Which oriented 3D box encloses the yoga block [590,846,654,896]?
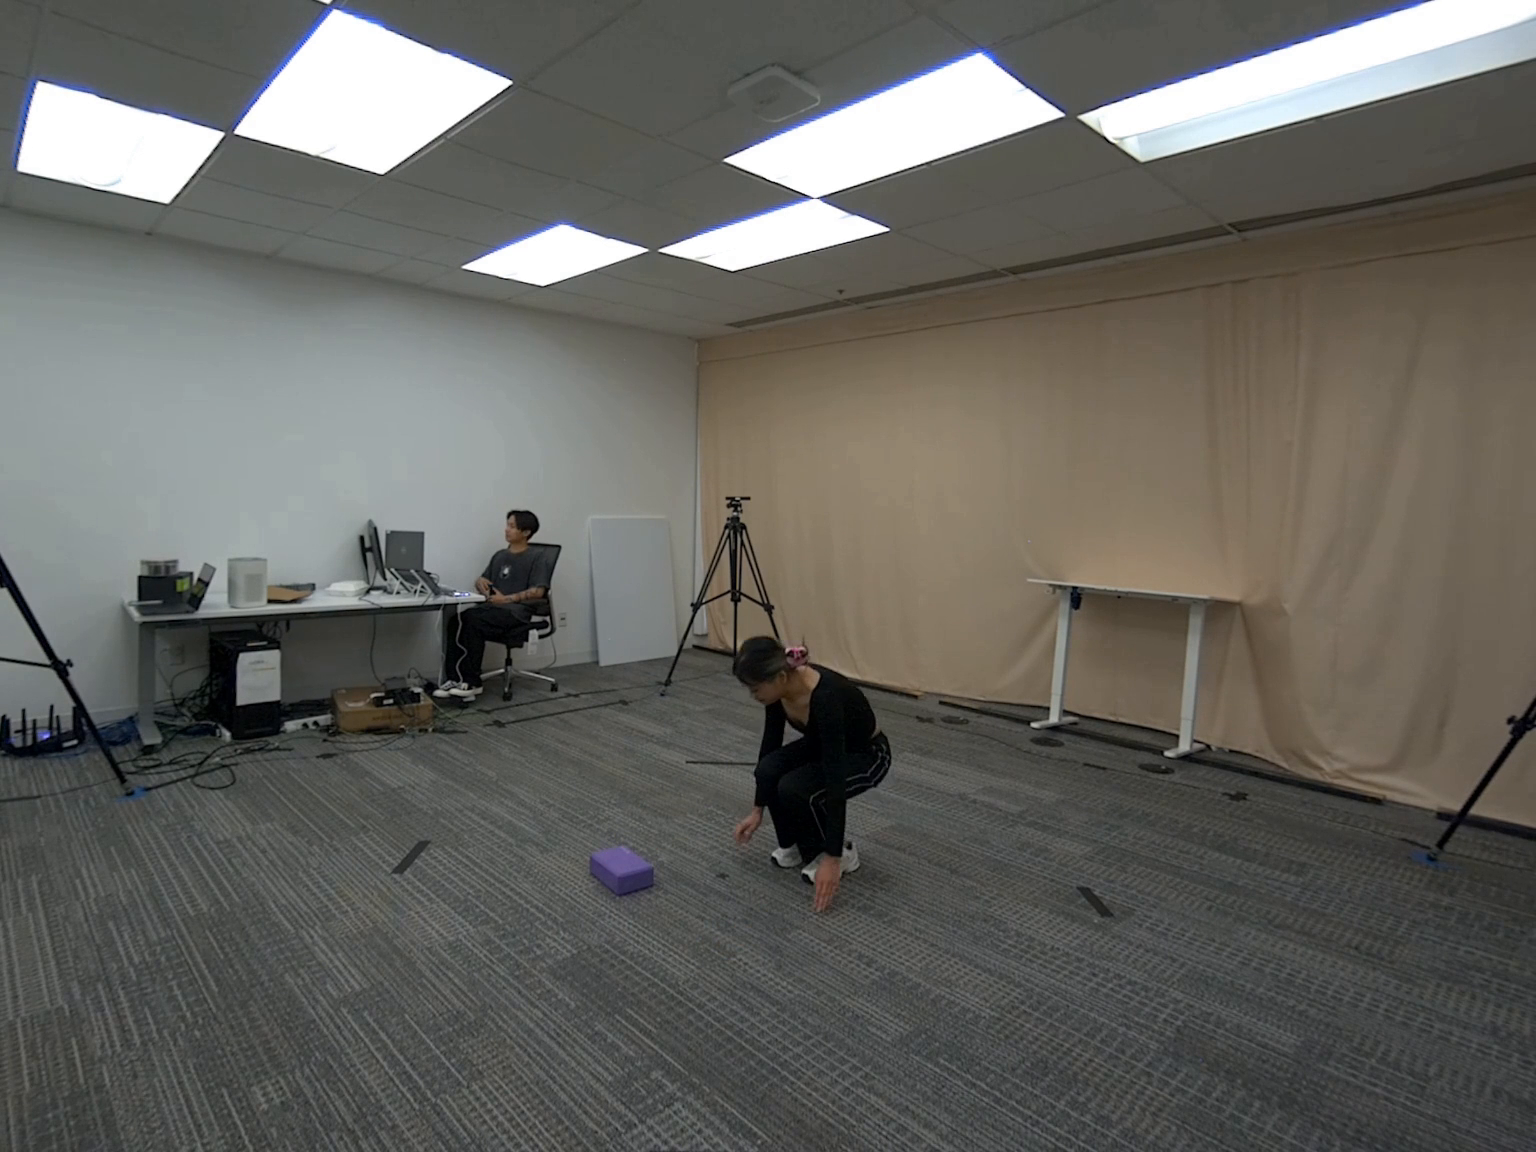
[{"bbox_3d":[-0.535,1.058,3.053,0.146,0.076,0.235,-2,6,-38],"label":"yoga block"}]
